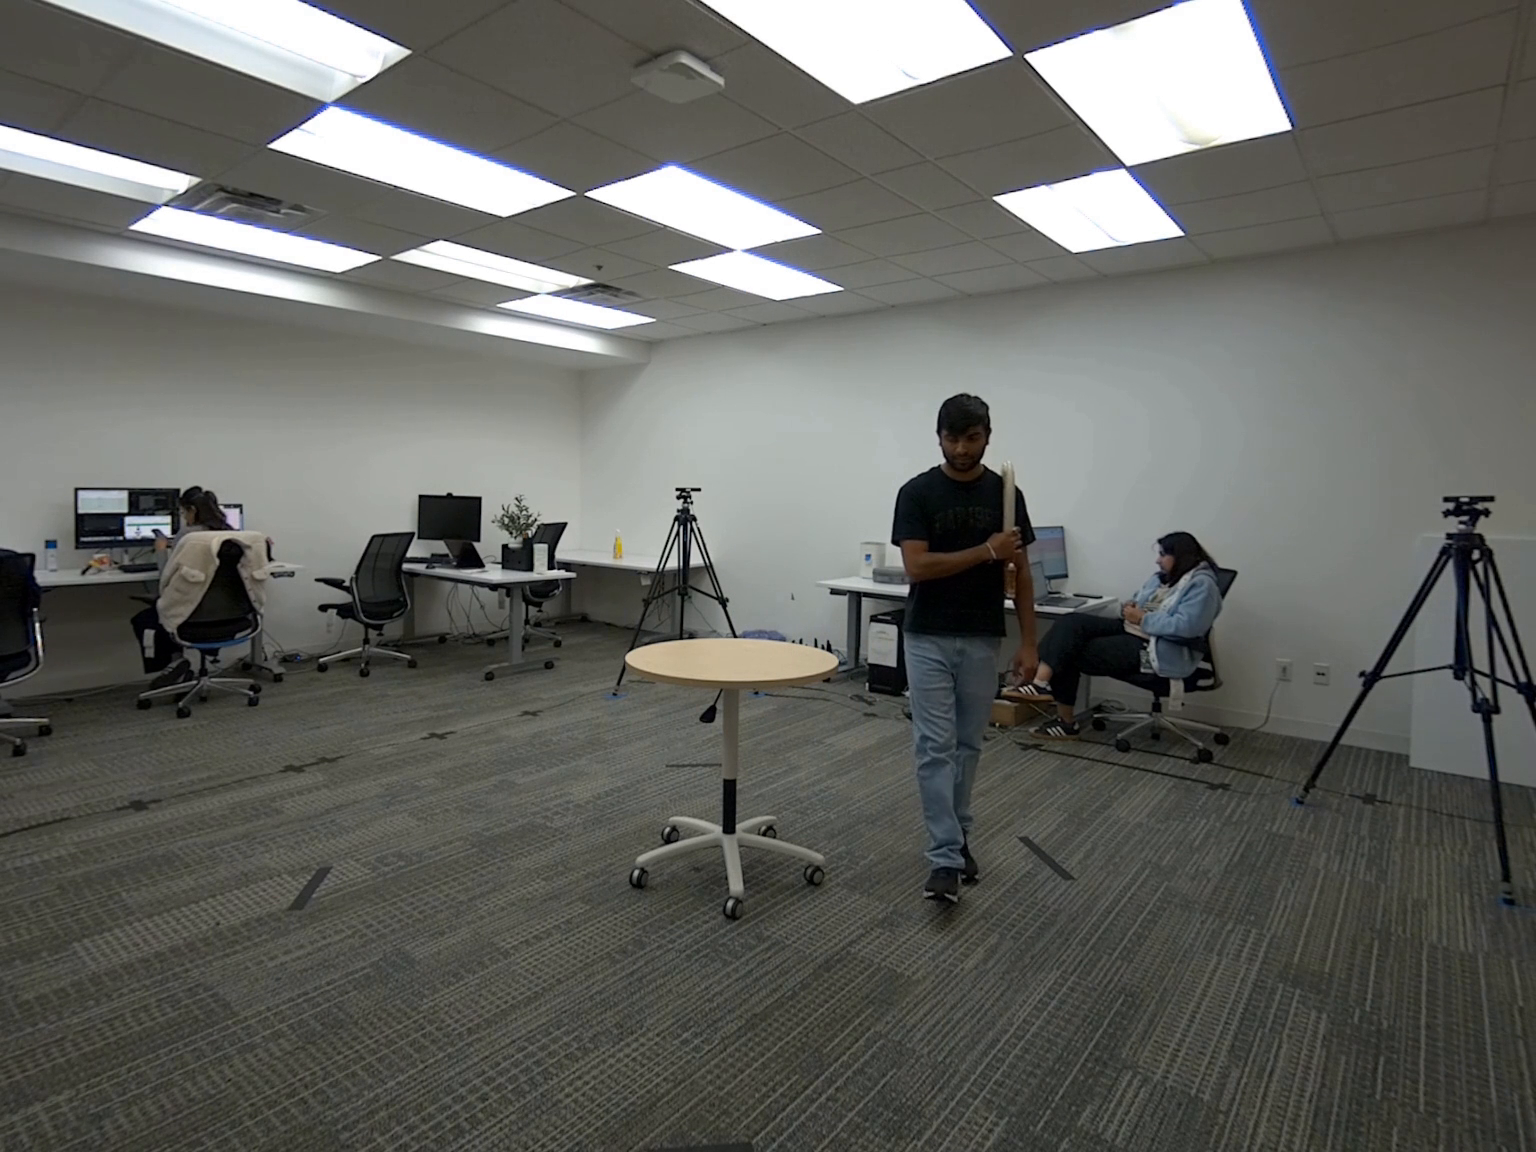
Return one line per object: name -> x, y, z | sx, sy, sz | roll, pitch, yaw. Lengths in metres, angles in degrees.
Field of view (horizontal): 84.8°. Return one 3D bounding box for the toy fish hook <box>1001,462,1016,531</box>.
toy fish hook -> 0.865, -0.171, 3.079 | 0.049, 0.511, 0.219 | 0, -8, 12
